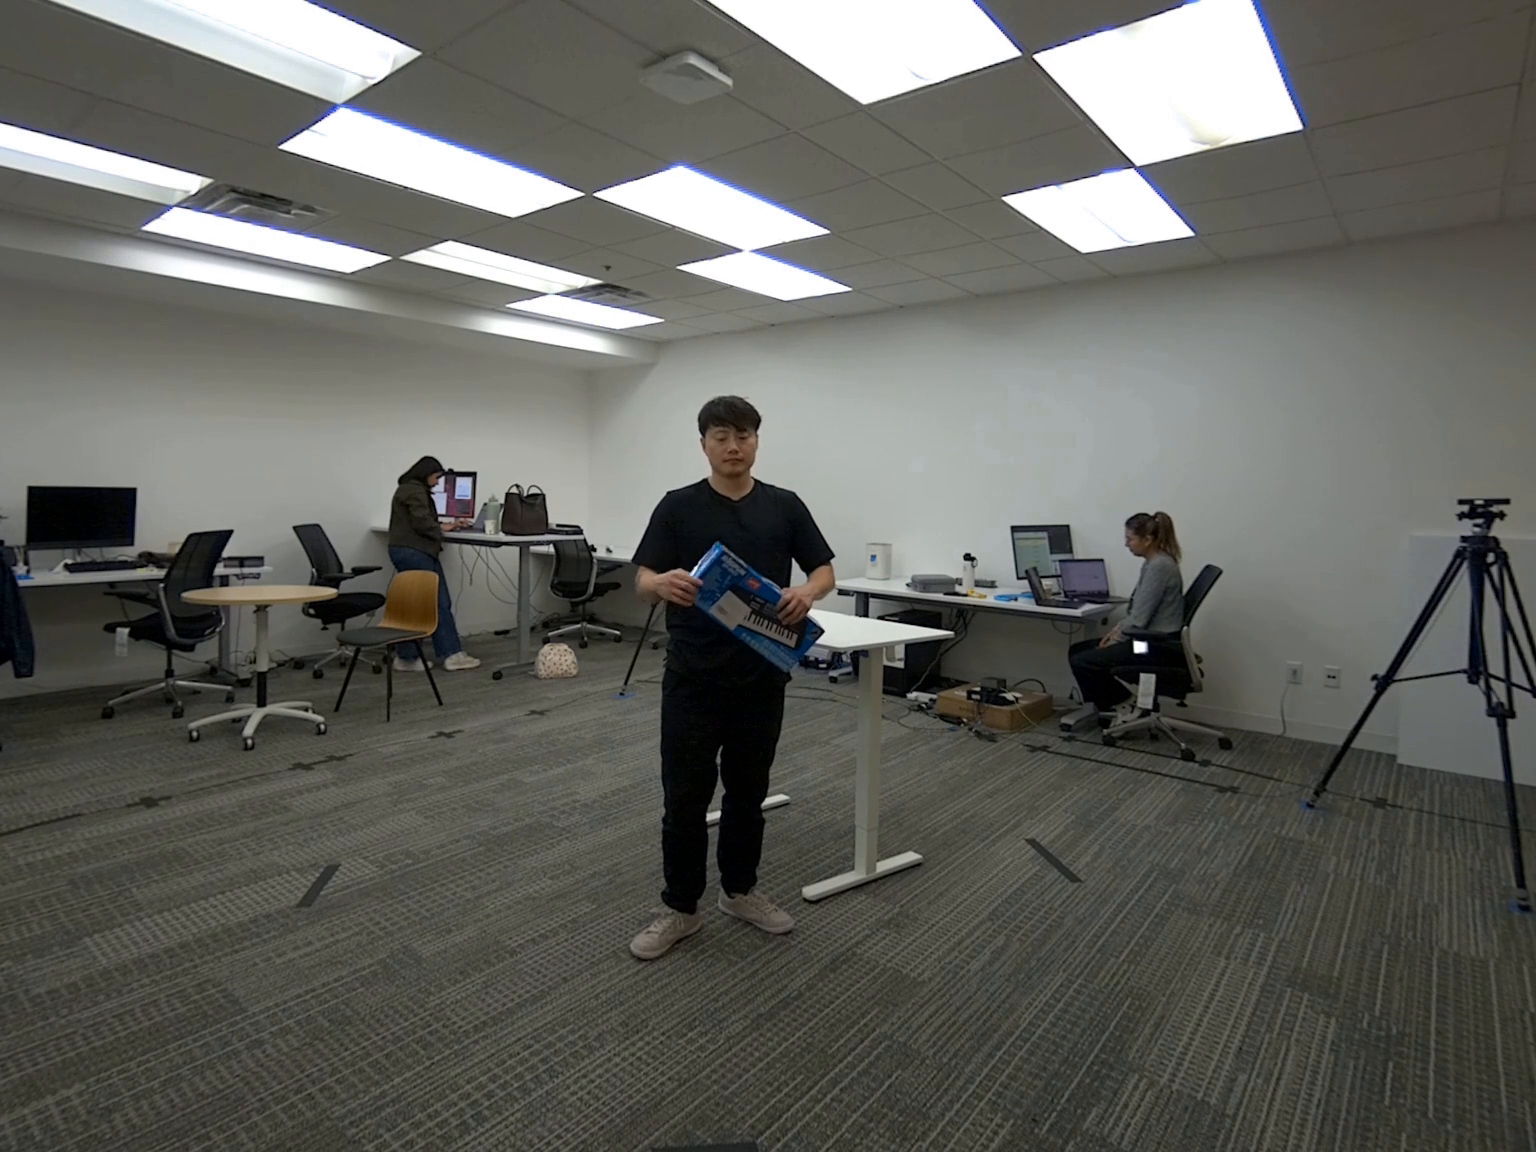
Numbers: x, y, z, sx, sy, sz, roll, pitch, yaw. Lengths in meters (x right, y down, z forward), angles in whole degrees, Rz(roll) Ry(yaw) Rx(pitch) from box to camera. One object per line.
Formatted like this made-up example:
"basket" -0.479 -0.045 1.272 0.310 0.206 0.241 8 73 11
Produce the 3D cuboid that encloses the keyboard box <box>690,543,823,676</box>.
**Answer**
"keyboard box" -0.061 0.094 2.419 0.421 0.176 0.061 41 6 -29
